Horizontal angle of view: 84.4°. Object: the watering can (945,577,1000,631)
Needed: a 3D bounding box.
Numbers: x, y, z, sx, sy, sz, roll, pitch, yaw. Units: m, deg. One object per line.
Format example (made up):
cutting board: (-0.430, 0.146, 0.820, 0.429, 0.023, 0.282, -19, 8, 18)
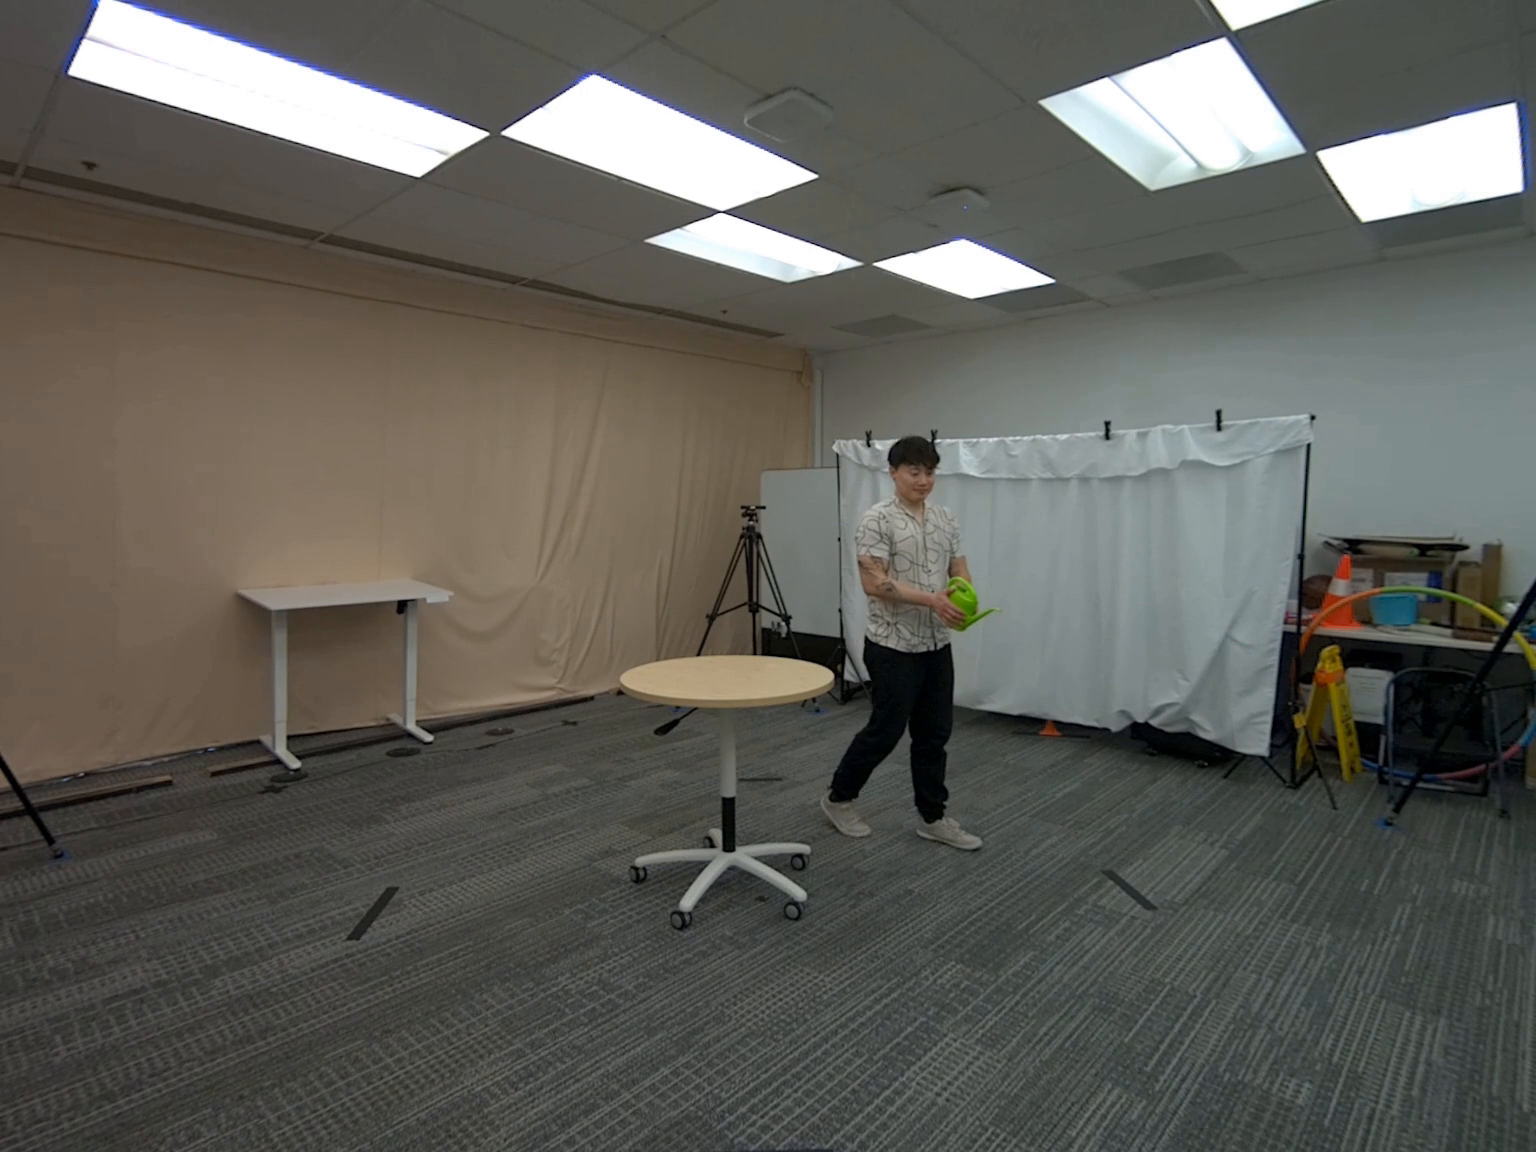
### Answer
watering can: (0.741, 0.133, 3.183, 0.096, 0.176, 0.285, 10, 27, -19)
